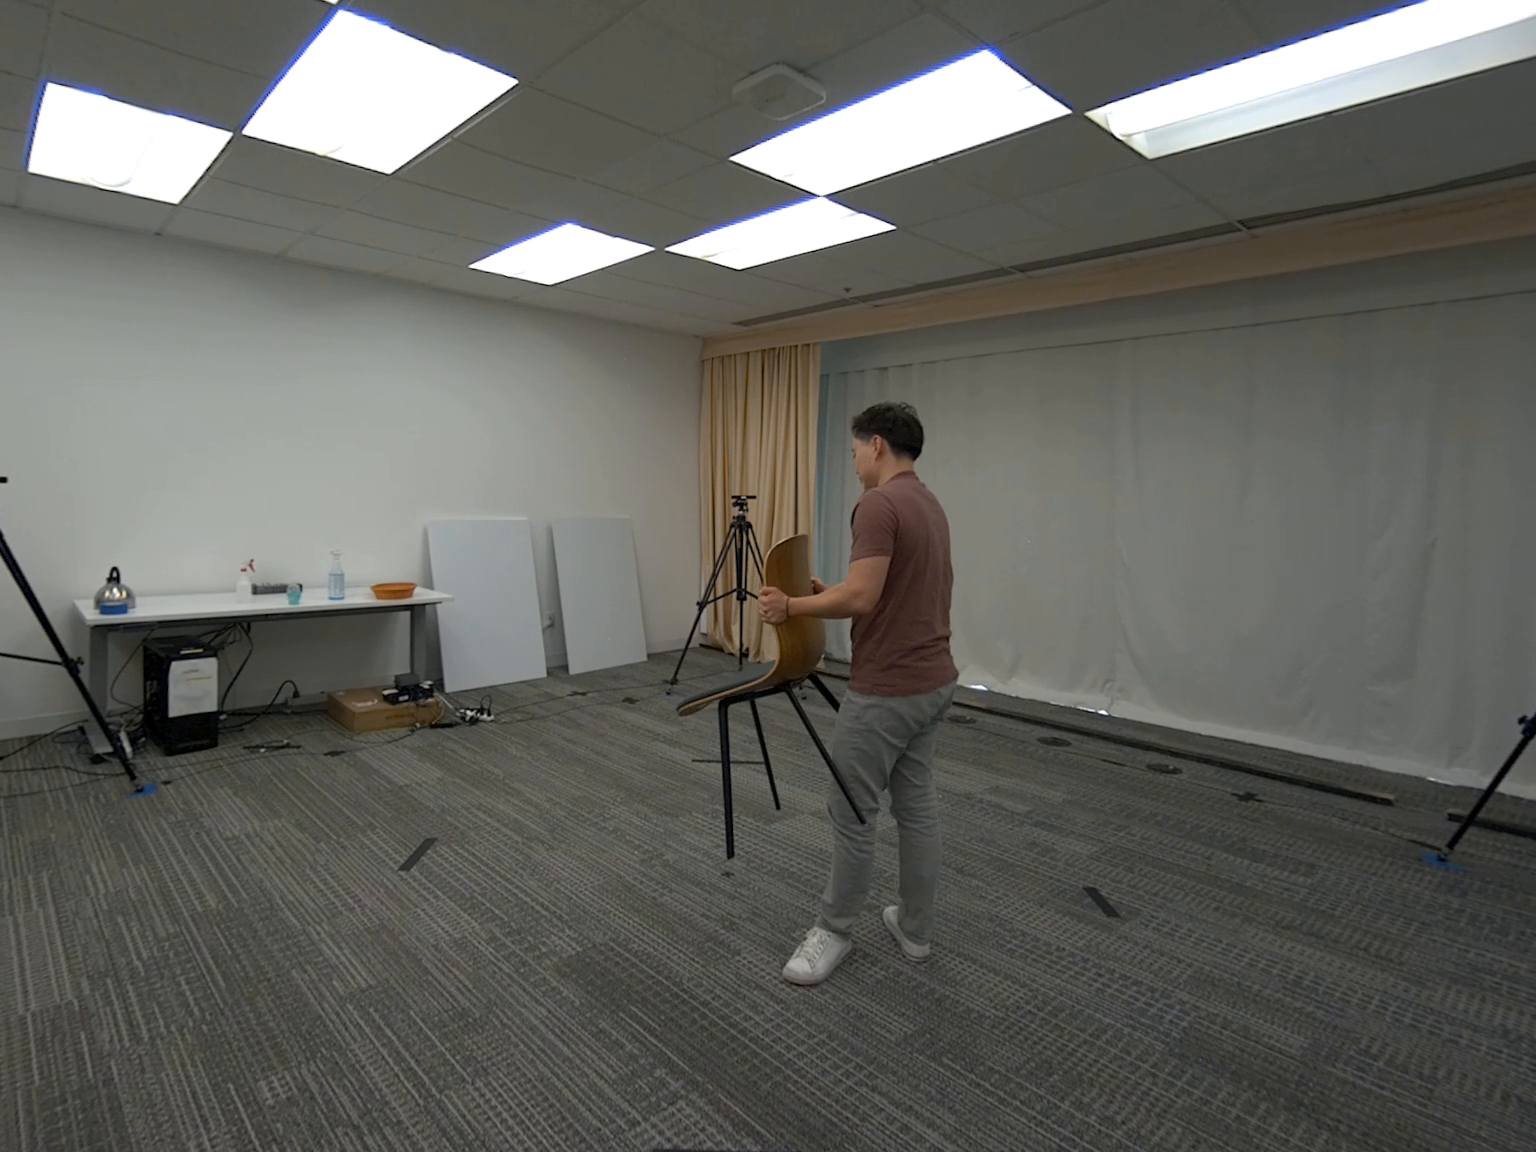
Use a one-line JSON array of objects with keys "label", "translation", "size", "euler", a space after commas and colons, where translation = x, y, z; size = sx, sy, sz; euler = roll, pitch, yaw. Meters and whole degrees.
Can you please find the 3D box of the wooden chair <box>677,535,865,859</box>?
[{"label": "wooden chair", "translation": [-0.010, 0.367, 2.692], "size": [0.529, 0.880, 0.471], "euler": [-18, -3, 22]}]
